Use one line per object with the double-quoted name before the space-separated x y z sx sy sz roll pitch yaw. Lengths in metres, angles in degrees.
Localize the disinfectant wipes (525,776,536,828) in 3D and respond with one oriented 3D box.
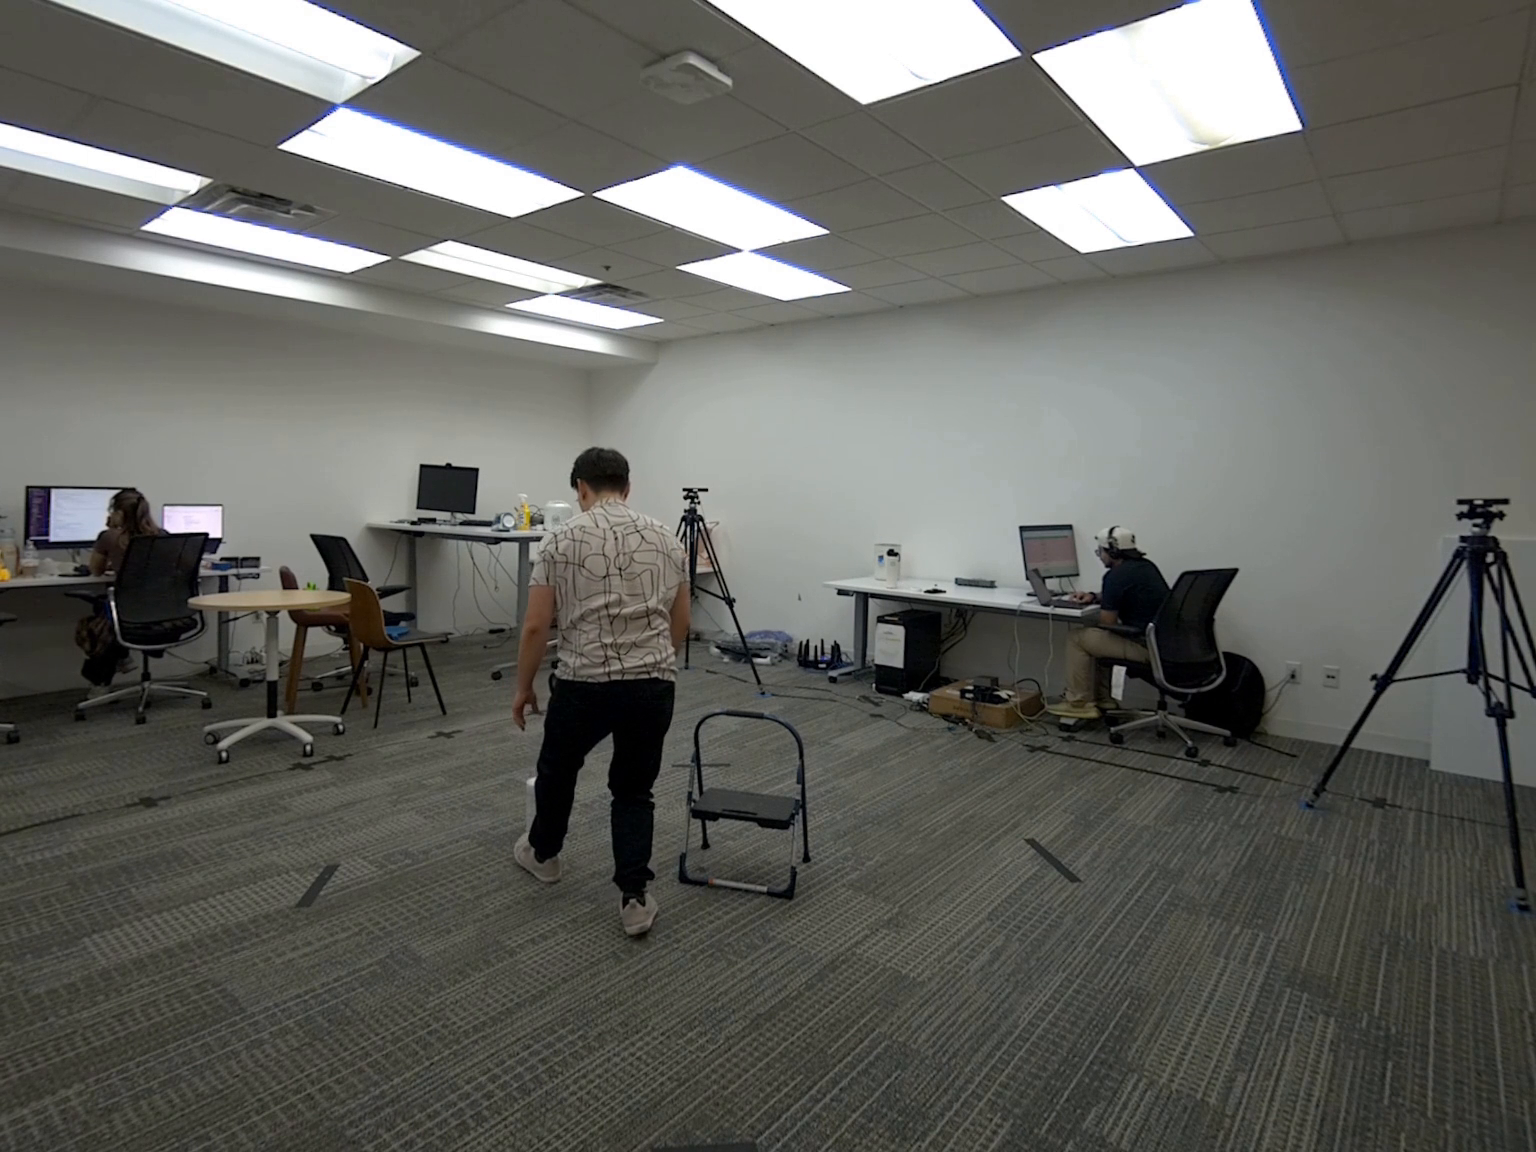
"disinfectant wipes" -0.926 0.915 3.399 0.118 0.217 0.118 0 3 -2
